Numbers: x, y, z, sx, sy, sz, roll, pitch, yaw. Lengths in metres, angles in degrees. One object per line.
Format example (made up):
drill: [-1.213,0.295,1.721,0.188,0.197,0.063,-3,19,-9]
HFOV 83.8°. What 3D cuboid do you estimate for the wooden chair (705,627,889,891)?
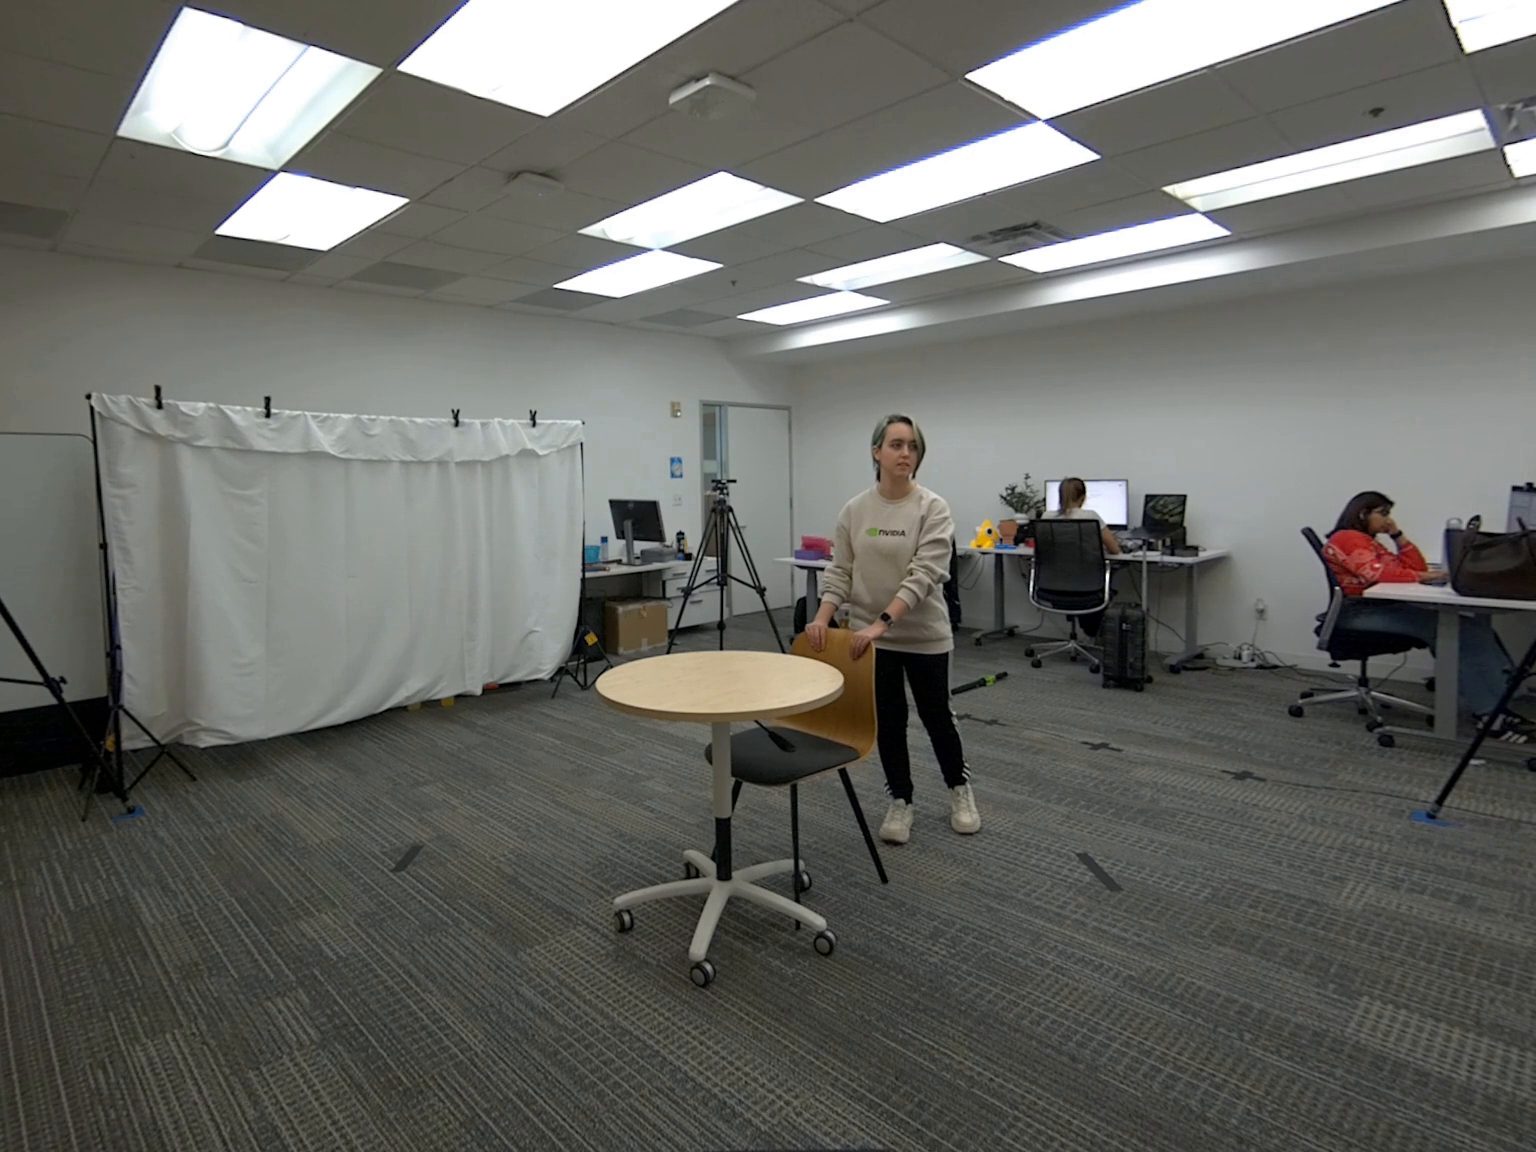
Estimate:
wooden chair: [0.084,0.636,2.926,0.508,0.876,0.493,1,2,-42]
